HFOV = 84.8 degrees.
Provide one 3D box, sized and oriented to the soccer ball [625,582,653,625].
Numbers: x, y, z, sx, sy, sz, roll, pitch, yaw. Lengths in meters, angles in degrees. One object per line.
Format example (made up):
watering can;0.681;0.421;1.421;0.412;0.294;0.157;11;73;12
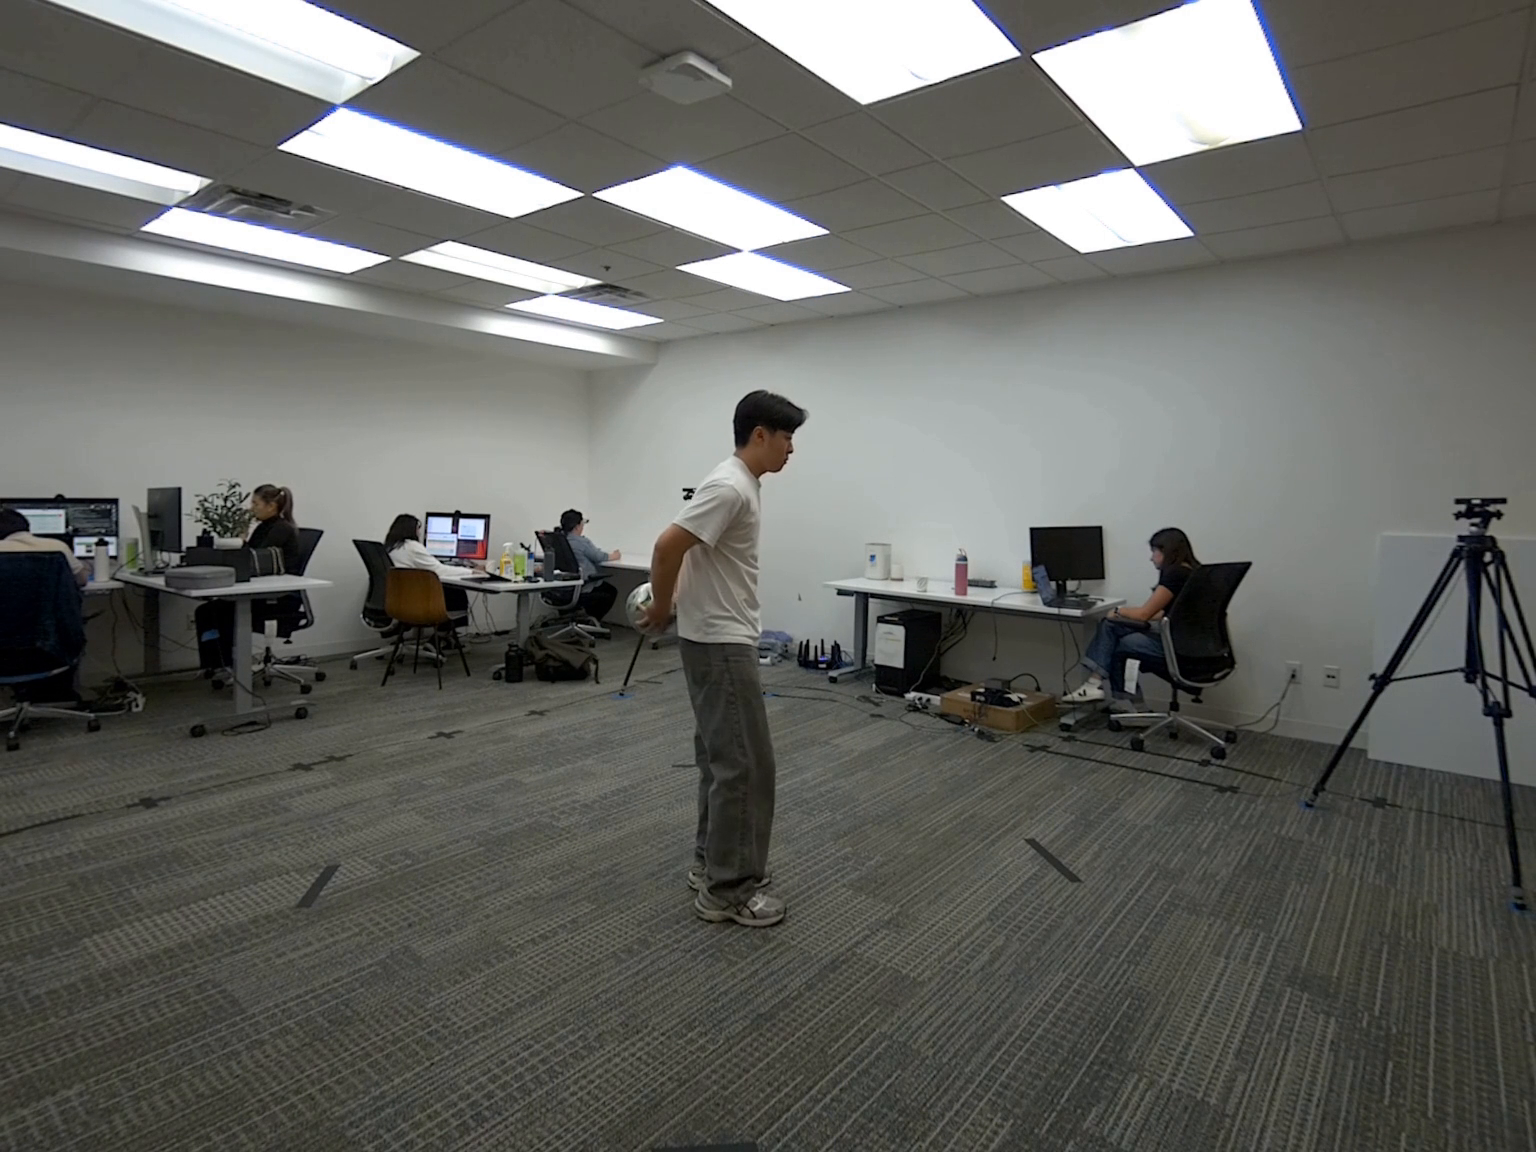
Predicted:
soccer ball;-0.421;0.112;3.031;0.187;0.187;0.188;1;4;-2
